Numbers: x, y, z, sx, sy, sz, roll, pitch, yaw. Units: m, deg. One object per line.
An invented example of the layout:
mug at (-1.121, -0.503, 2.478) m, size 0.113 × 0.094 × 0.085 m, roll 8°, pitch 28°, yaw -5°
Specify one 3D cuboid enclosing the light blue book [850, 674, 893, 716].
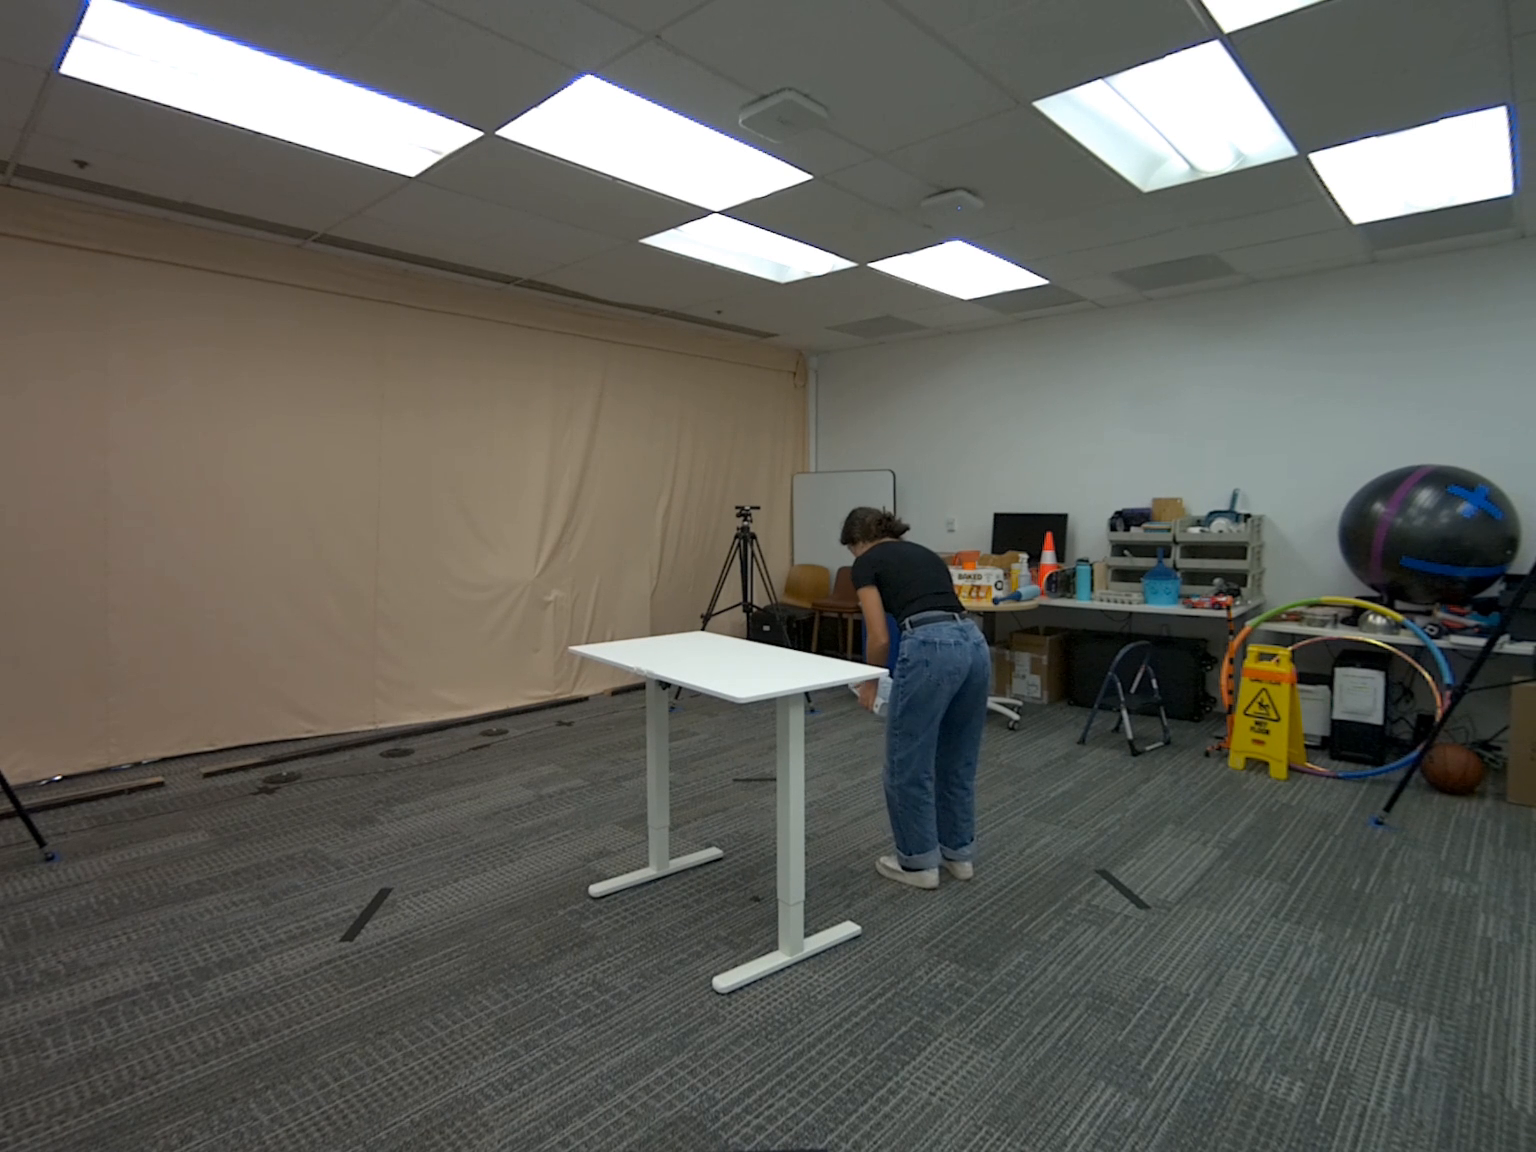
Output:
light blue book at (0.460, 0.495, 3.358) m, size 0.193 × 0.058 × 0.261 m, roll 11°, pitch 16°, yaw 5°
